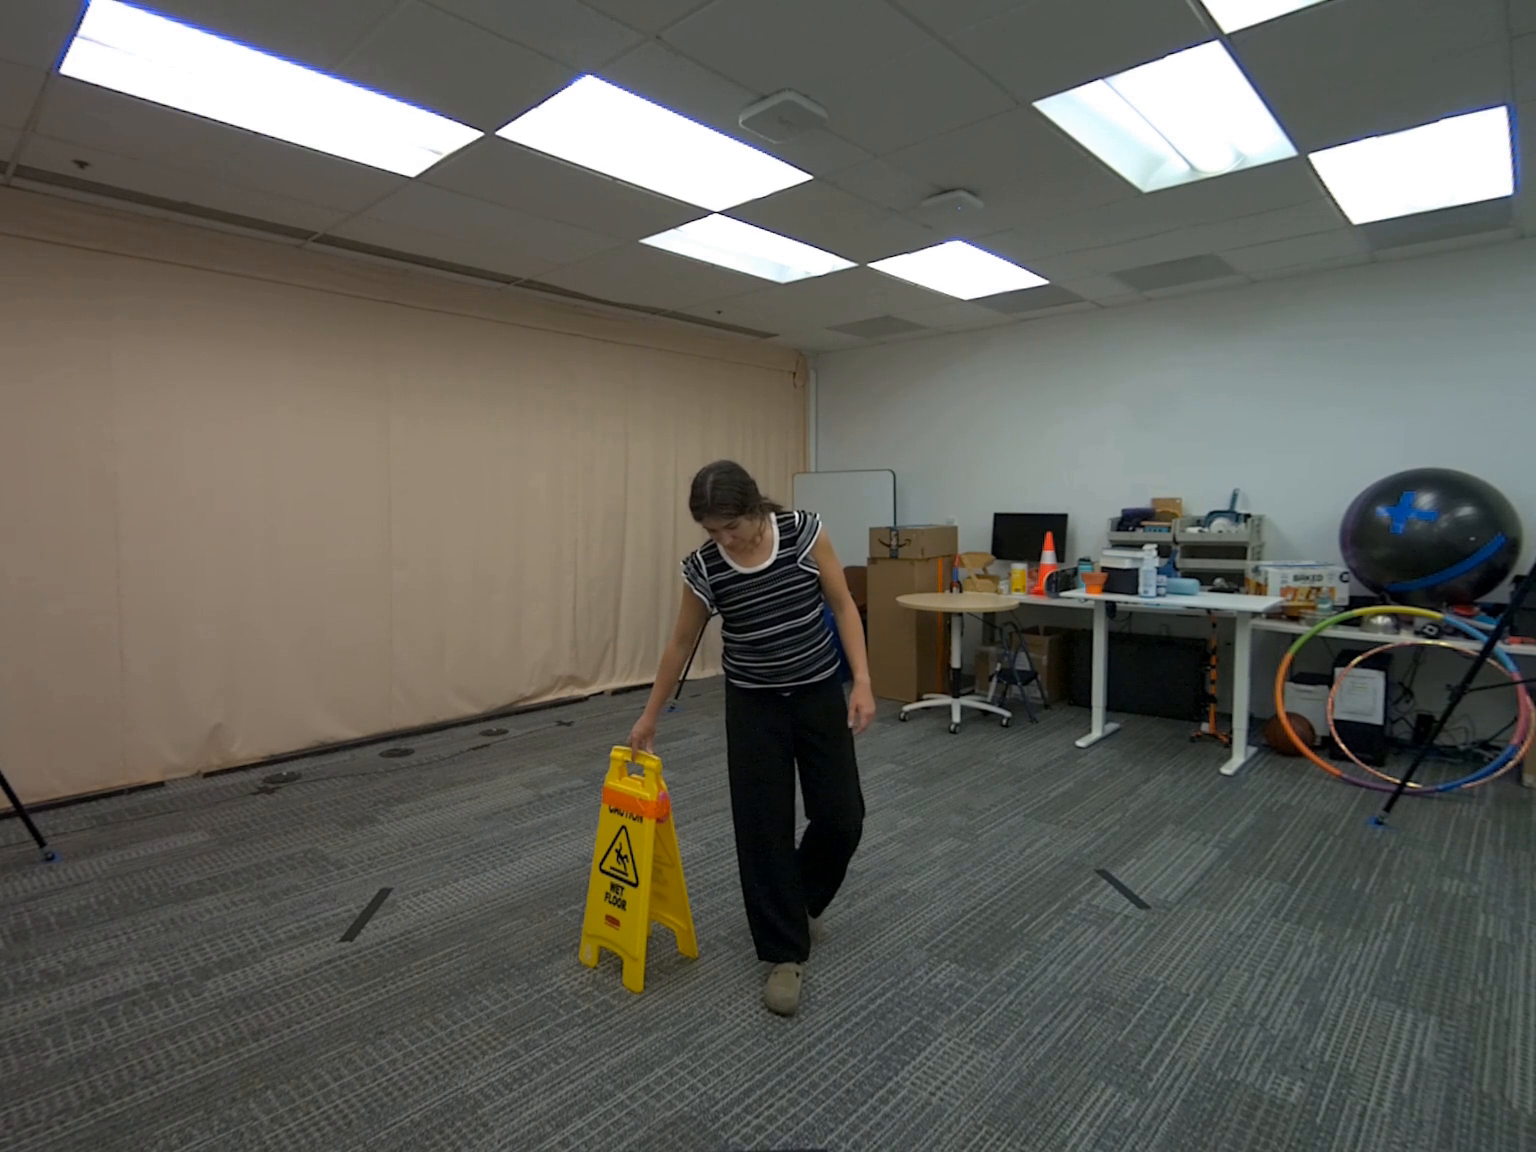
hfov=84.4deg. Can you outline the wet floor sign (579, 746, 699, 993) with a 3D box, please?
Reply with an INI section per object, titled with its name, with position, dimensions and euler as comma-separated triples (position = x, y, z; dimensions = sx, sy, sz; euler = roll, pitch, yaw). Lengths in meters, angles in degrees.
[wet floor sign]
position = -0.401, 0.859, 2.567
dimensions = 0.291, 0.644, 0.281
euler = 2, 4, 38
